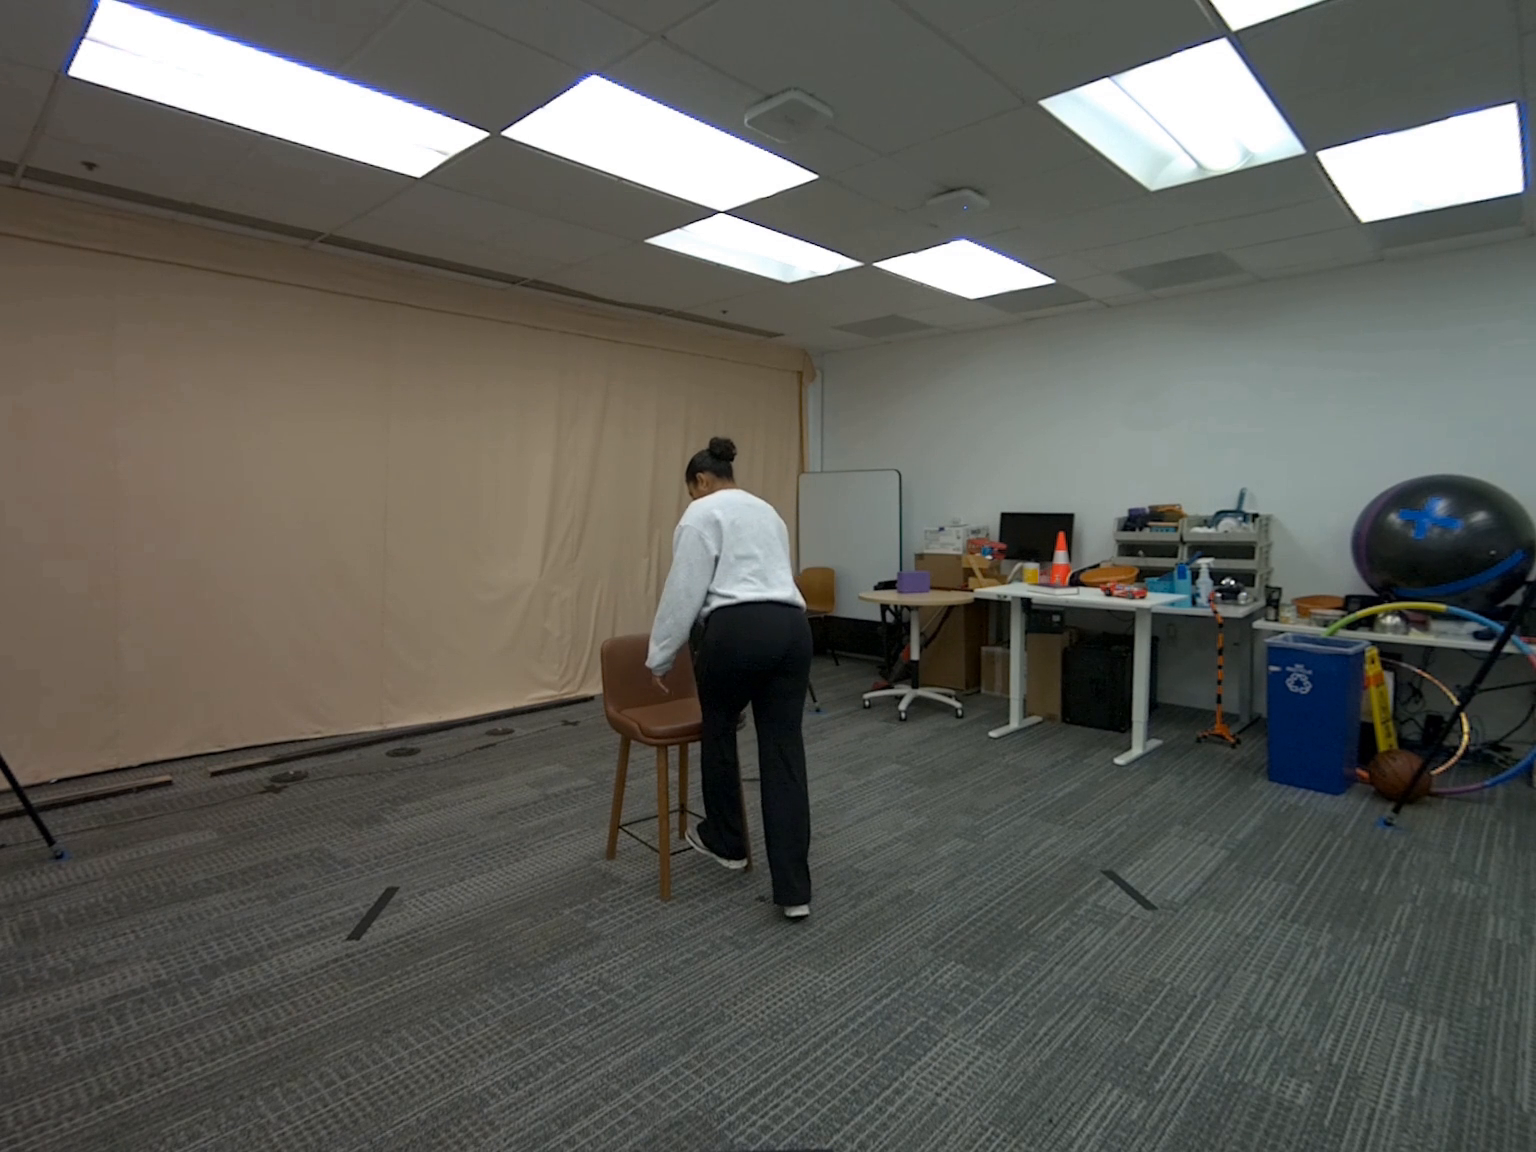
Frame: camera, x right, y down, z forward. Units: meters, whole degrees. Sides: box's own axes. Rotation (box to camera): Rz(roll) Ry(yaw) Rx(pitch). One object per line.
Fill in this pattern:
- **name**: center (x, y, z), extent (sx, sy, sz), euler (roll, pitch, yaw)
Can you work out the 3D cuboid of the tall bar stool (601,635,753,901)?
- **tall bar stool**: center (-0.367, 0.685, 3.250), extent (0.443, 0.888, 0.482), euler (-3, 3, -38)
